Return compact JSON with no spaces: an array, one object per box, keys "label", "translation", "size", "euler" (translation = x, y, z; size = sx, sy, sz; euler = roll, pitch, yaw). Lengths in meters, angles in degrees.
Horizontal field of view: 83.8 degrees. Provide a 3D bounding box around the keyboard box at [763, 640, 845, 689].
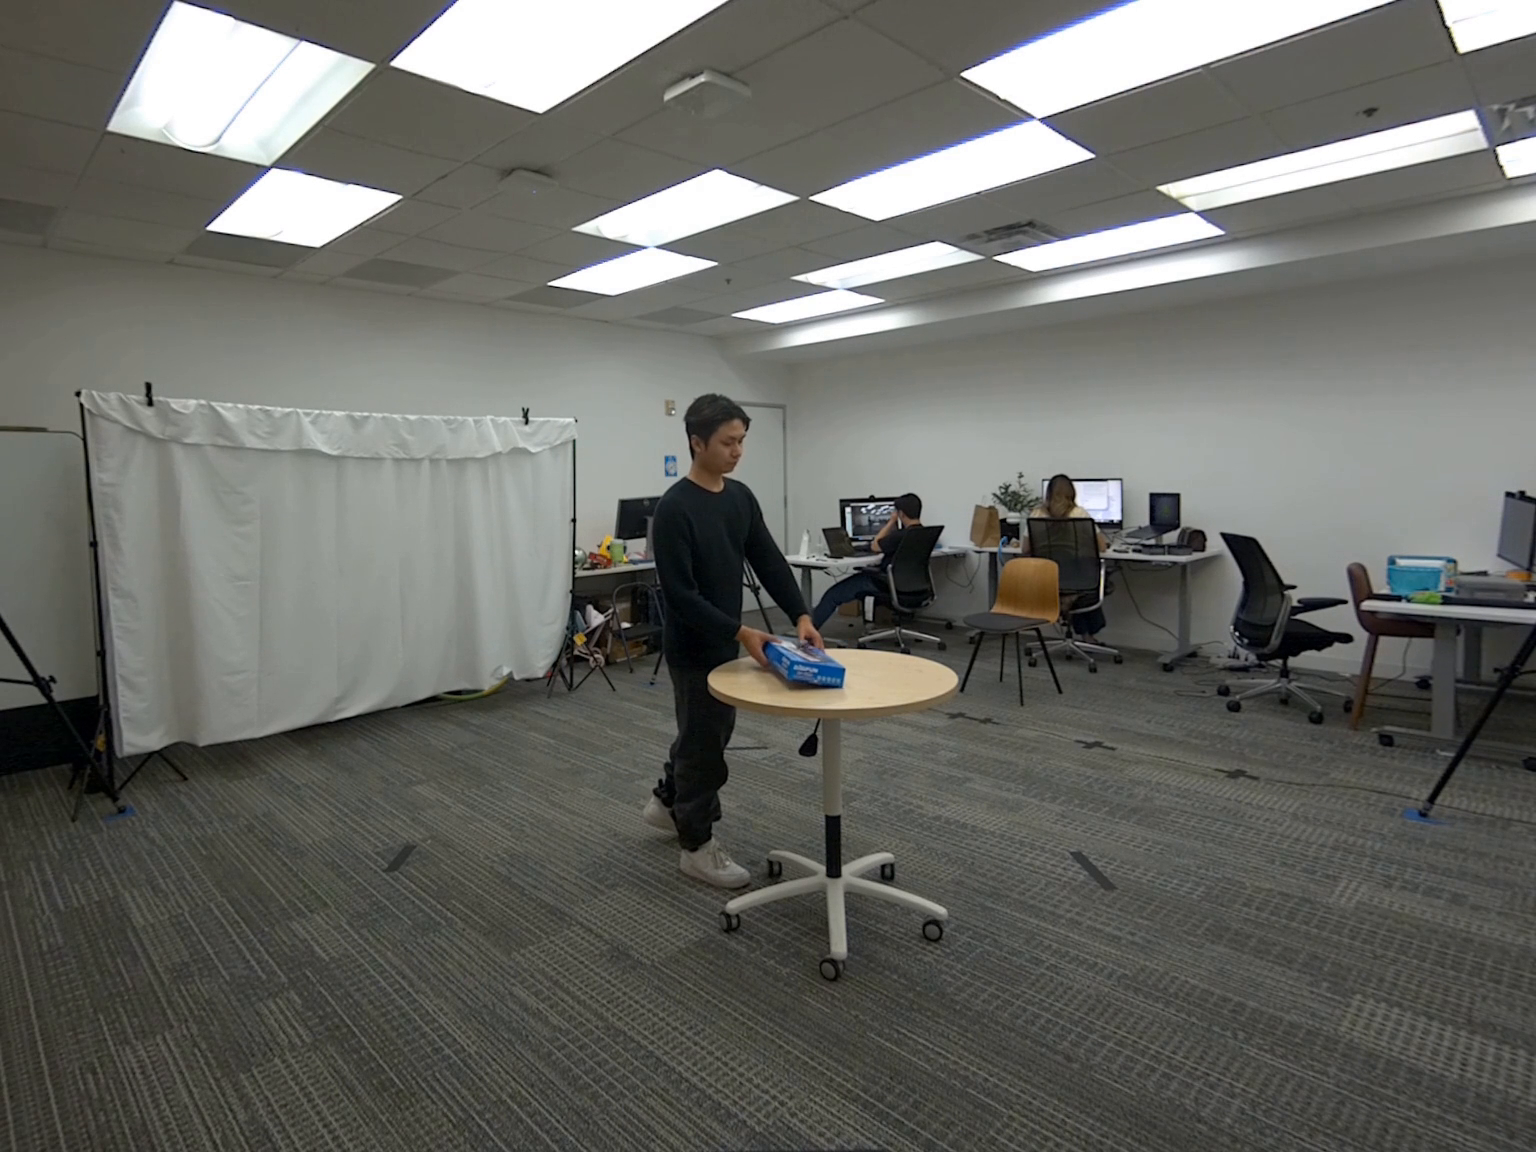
[{"label":"keyboard box","translation":[0.103,0.257,2.678],"size":[0.174,0.059,0.443],"euler":[10,4,-13]}]
